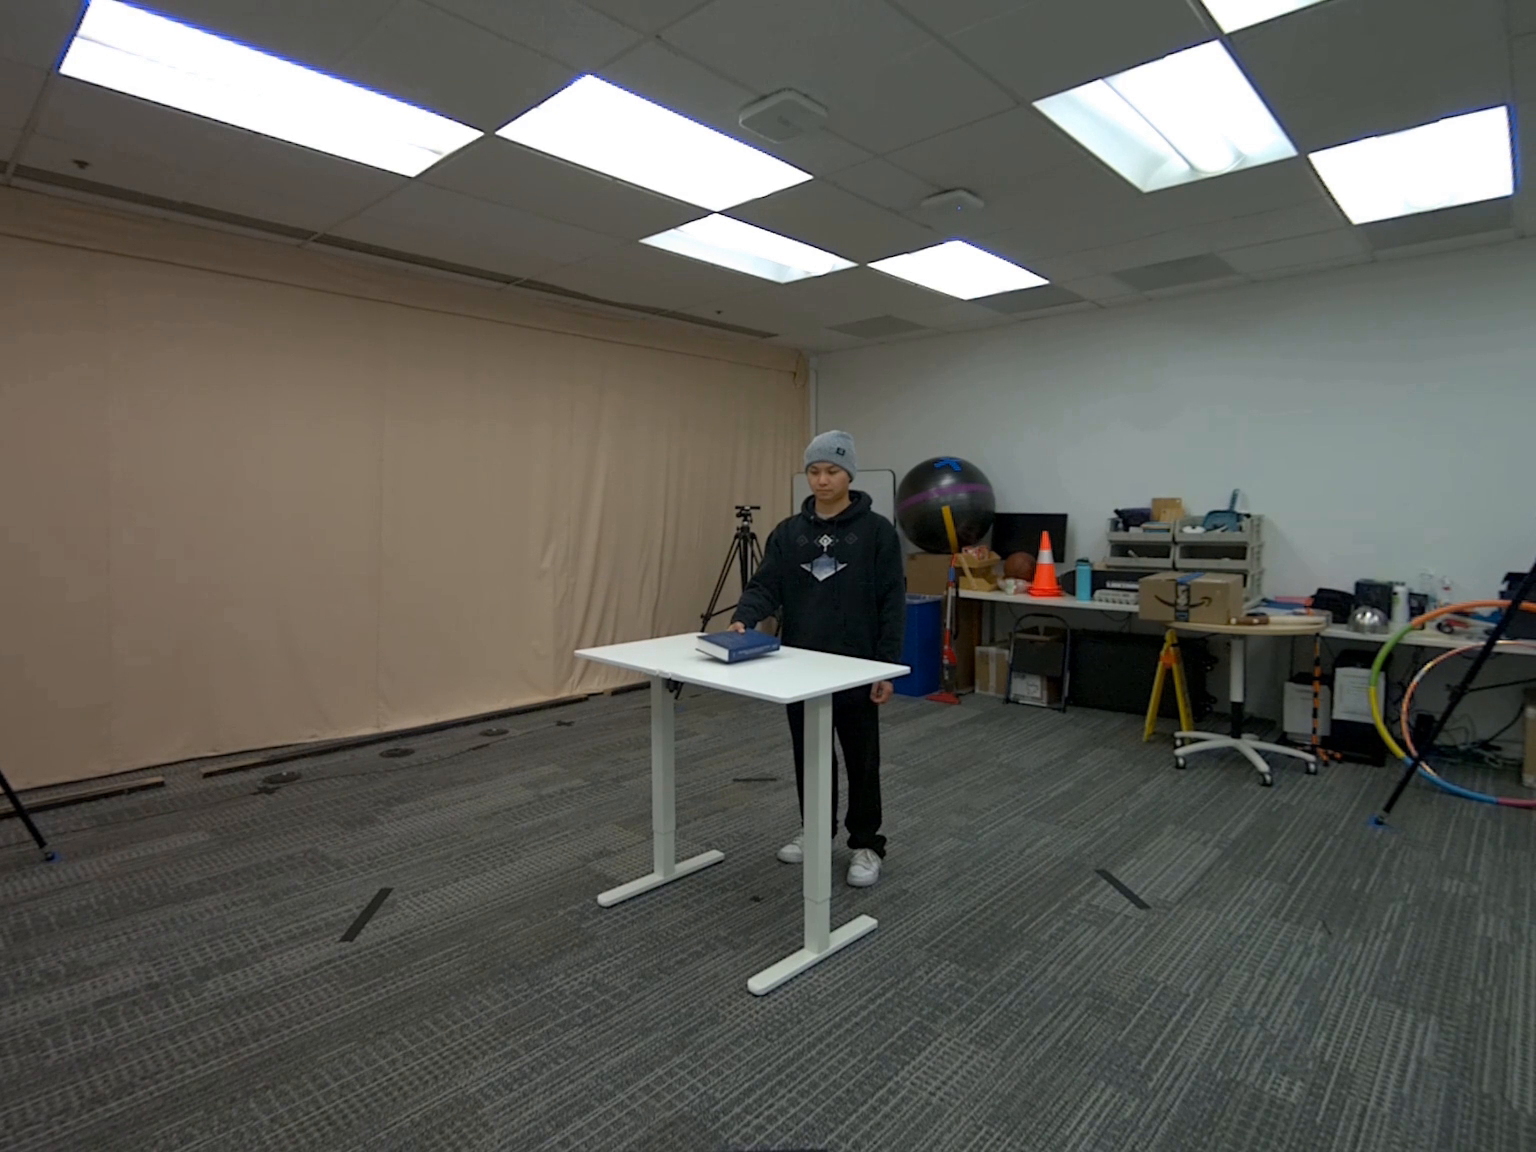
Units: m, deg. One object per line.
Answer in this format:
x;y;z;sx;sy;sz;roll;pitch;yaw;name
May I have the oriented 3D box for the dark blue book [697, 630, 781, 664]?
-0.098;0.231;2.828;0.238;0.045;0.169;-6;14;-42;dark blue book
